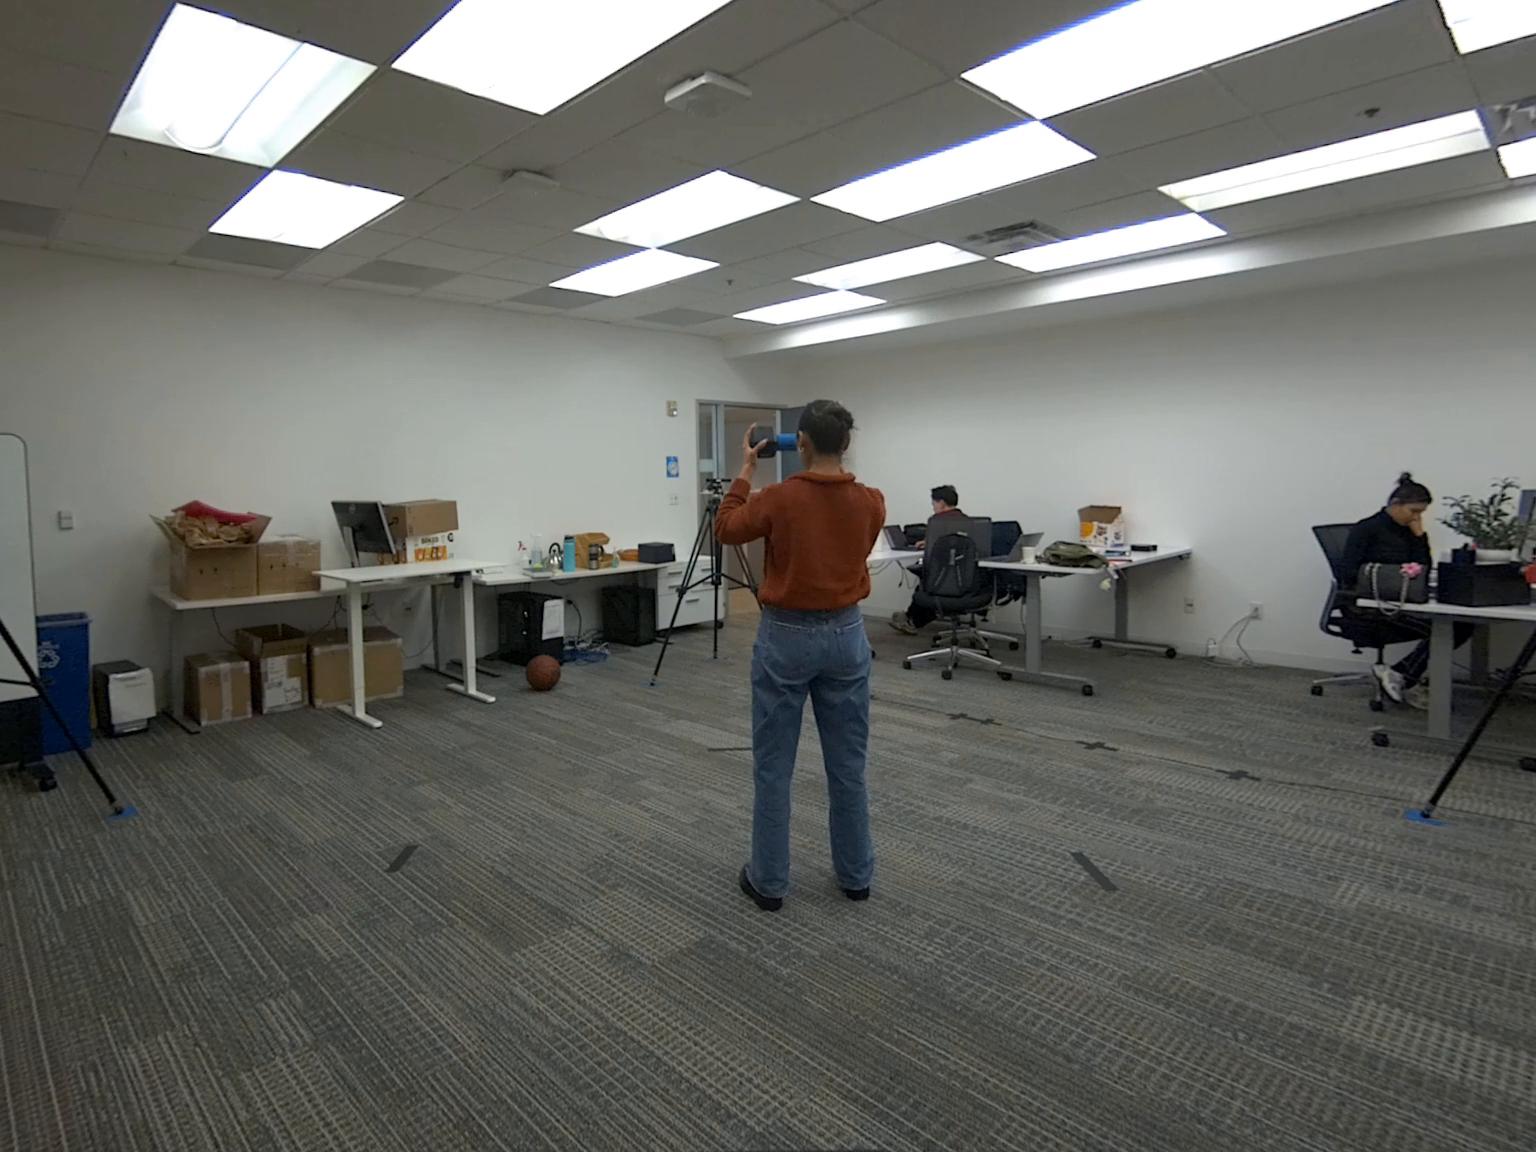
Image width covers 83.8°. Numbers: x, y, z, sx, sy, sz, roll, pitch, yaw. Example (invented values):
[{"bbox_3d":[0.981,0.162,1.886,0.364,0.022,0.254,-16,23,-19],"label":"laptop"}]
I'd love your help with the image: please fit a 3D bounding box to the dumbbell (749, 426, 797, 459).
[{"bbox_3d":[0.089,-0.461,2.932,0.292,0.120,0.112,-1,39,-4],"label":"dumbbell"}]
